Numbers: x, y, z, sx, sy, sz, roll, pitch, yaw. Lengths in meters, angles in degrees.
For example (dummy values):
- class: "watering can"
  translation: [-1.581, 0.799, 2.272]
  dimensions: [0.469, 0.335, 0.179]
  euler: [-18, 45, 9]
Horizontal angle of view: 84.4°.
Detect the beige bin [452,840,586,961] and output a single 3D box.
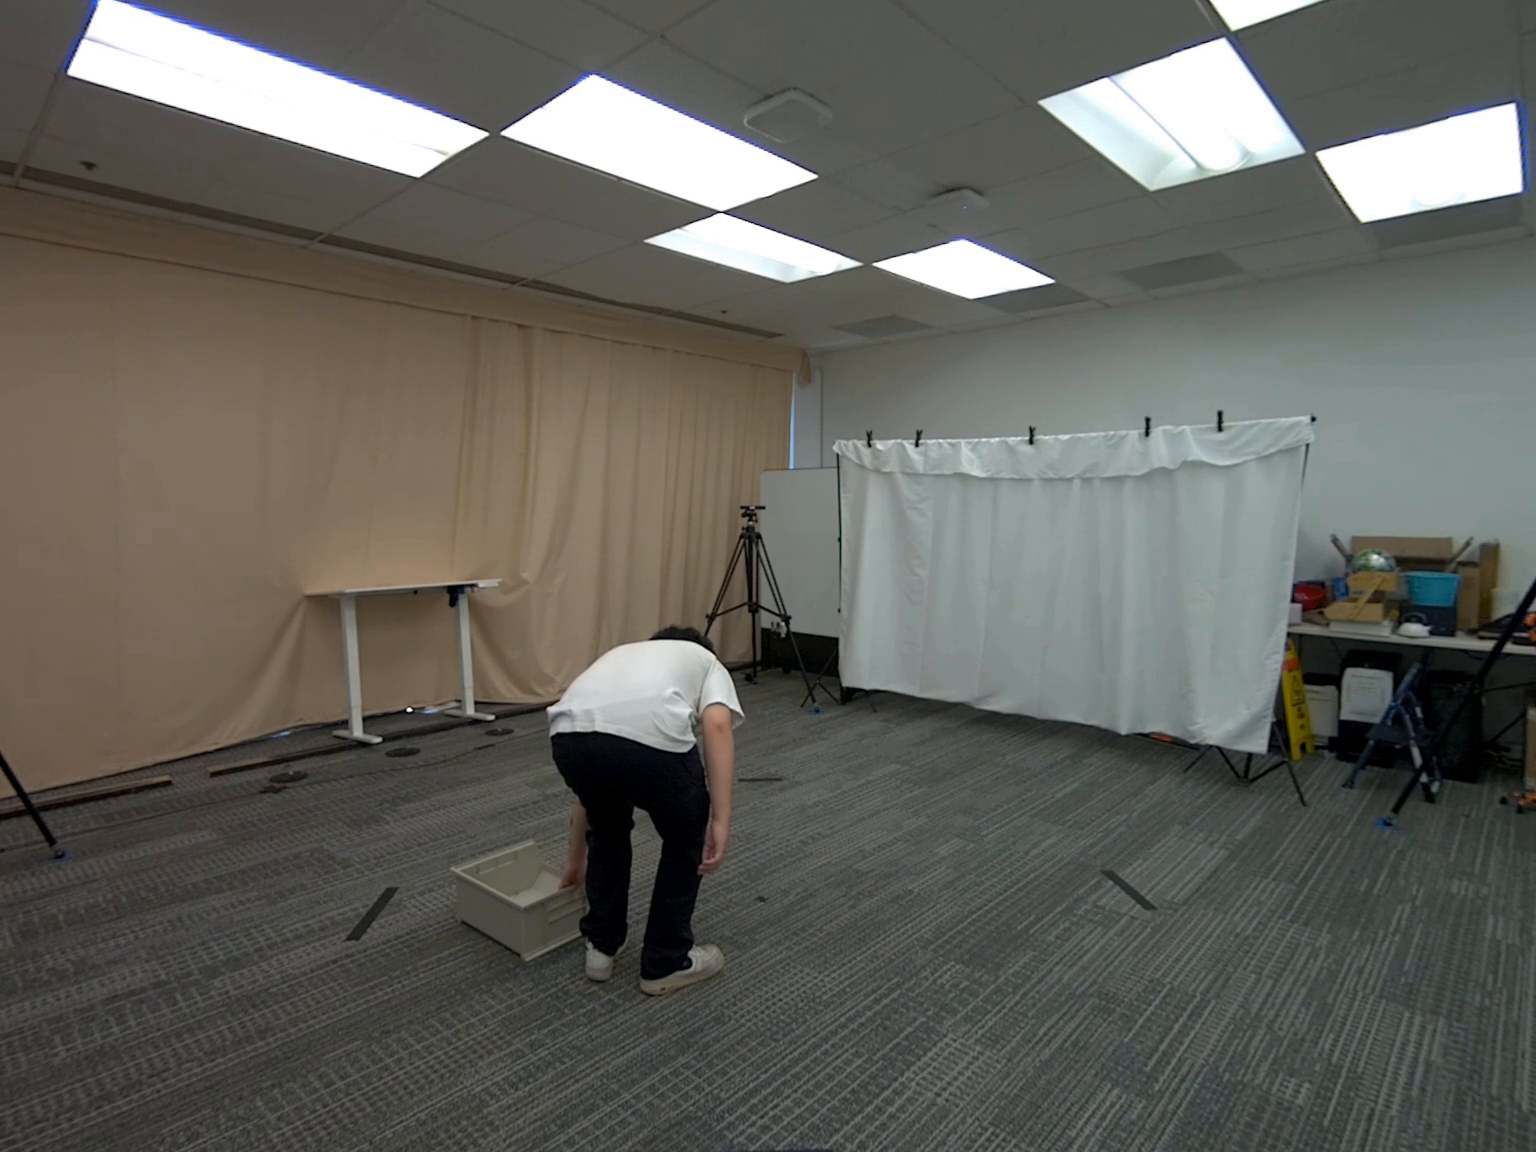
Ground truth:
- class: "beige bin"
  translation: [-0.795, 1.076, 2.838]
  dimensions: [0.436, 0.188, 0.366]
  euler: [4, 7, 40]
